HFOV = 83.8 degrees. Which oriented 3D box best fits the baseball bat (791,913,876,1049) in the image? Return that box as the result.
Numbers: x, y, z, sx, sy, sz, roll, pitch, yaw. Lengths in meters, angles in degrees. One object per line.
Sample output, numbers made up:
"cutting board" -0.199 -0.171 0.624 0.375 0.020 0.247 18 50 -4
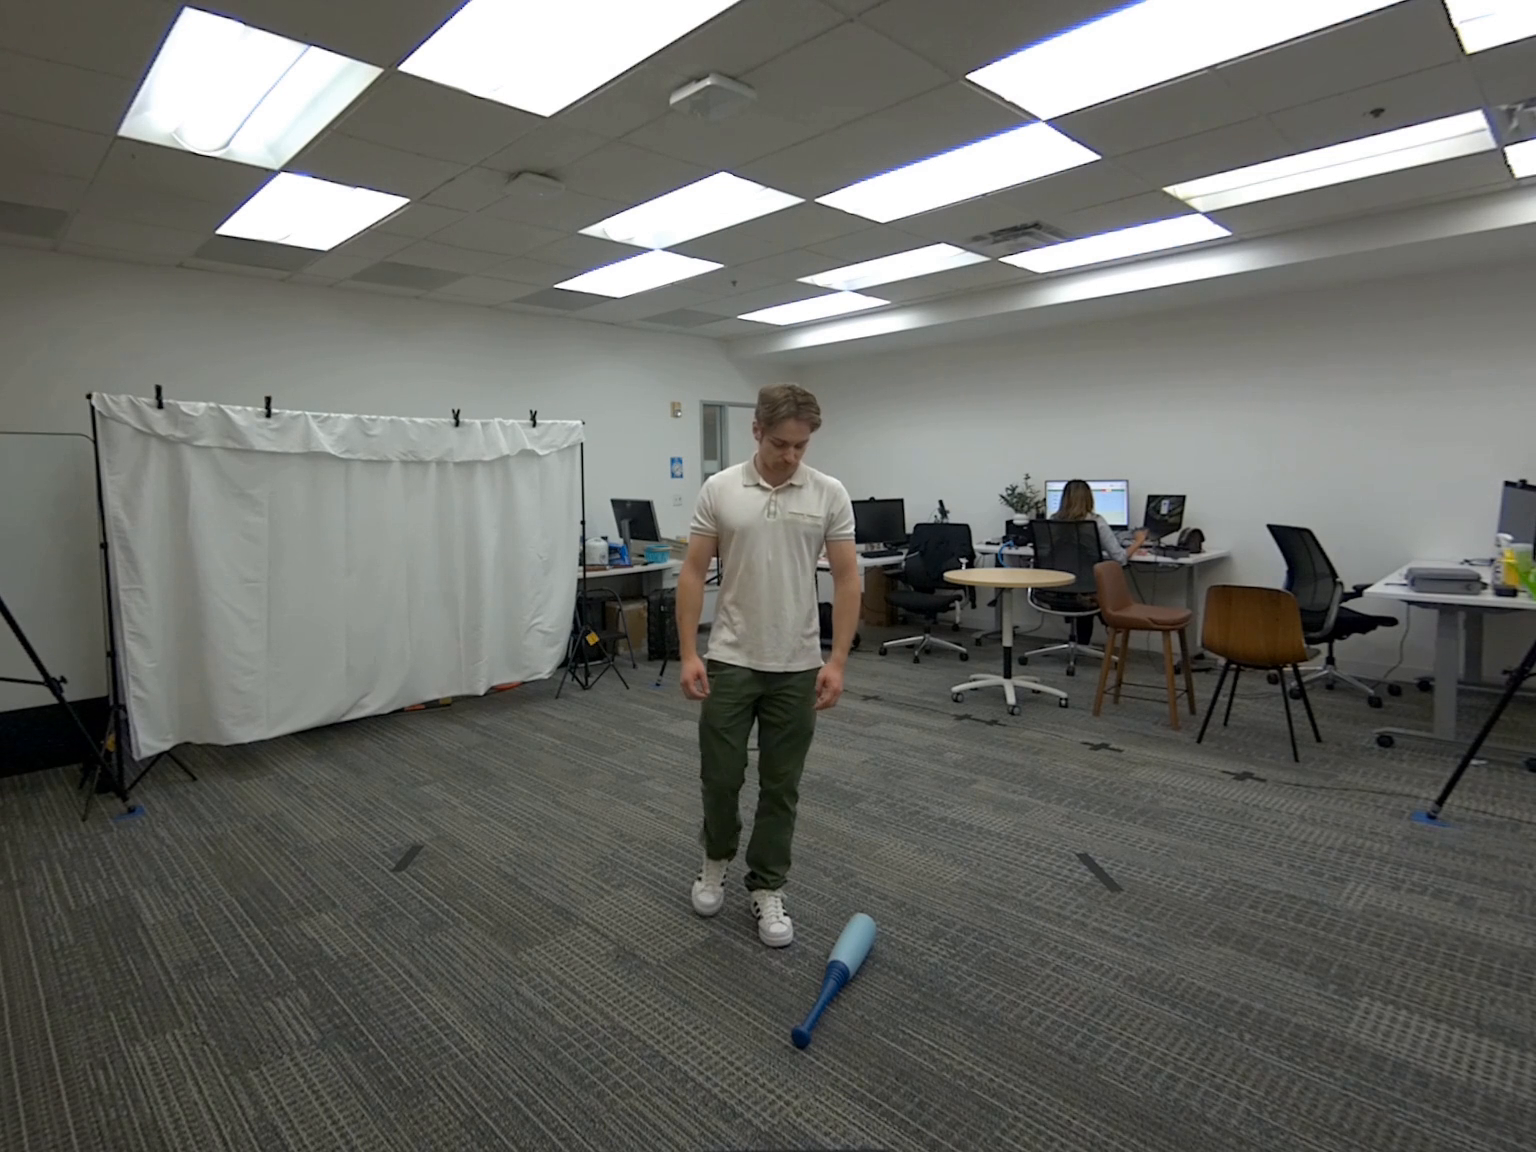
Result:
"baseball bat" 0.193 1.100 2.329 0.091 0.088 0.535 1 10 22
